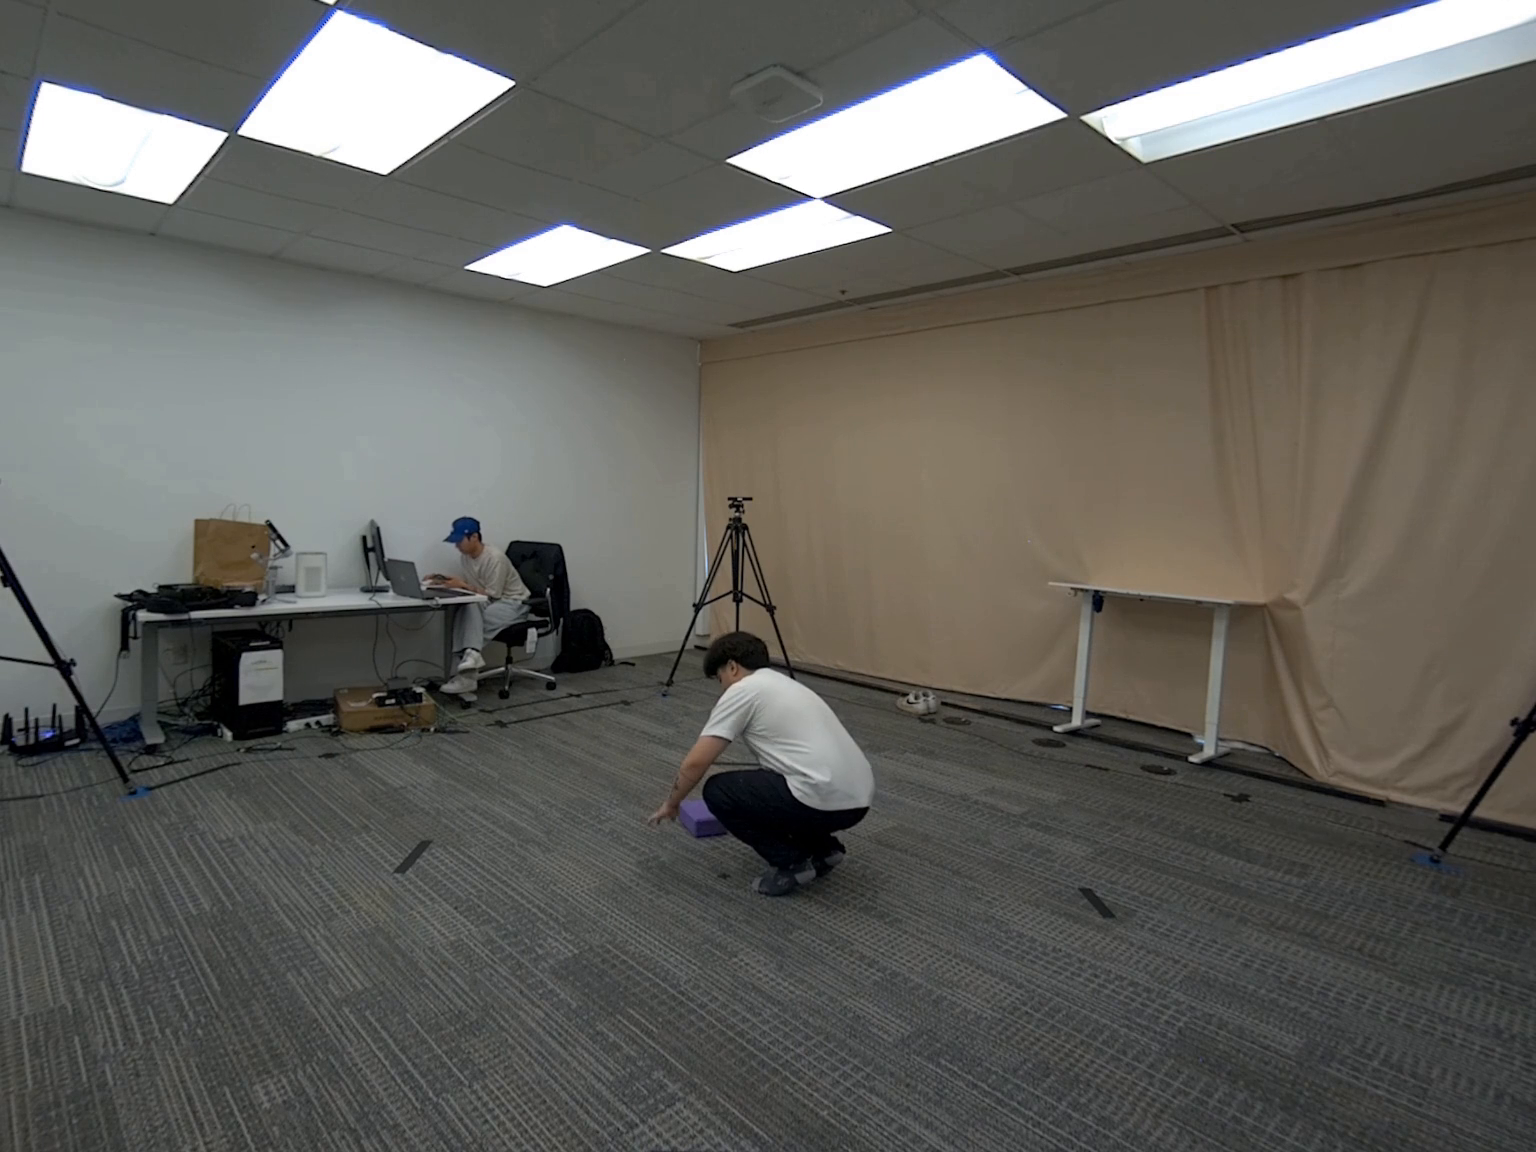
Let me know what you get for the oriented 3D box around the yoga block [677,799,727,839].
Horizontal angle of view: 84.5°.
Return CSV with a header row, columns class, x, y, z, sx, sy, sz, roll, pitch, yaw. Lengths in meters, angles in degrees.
class,x,y,z,sx,sy,sz,roll,pitch,yaw
yoga block,-0.286,1.024,3.568,0.146,0.076,0.234,0,5,-23
